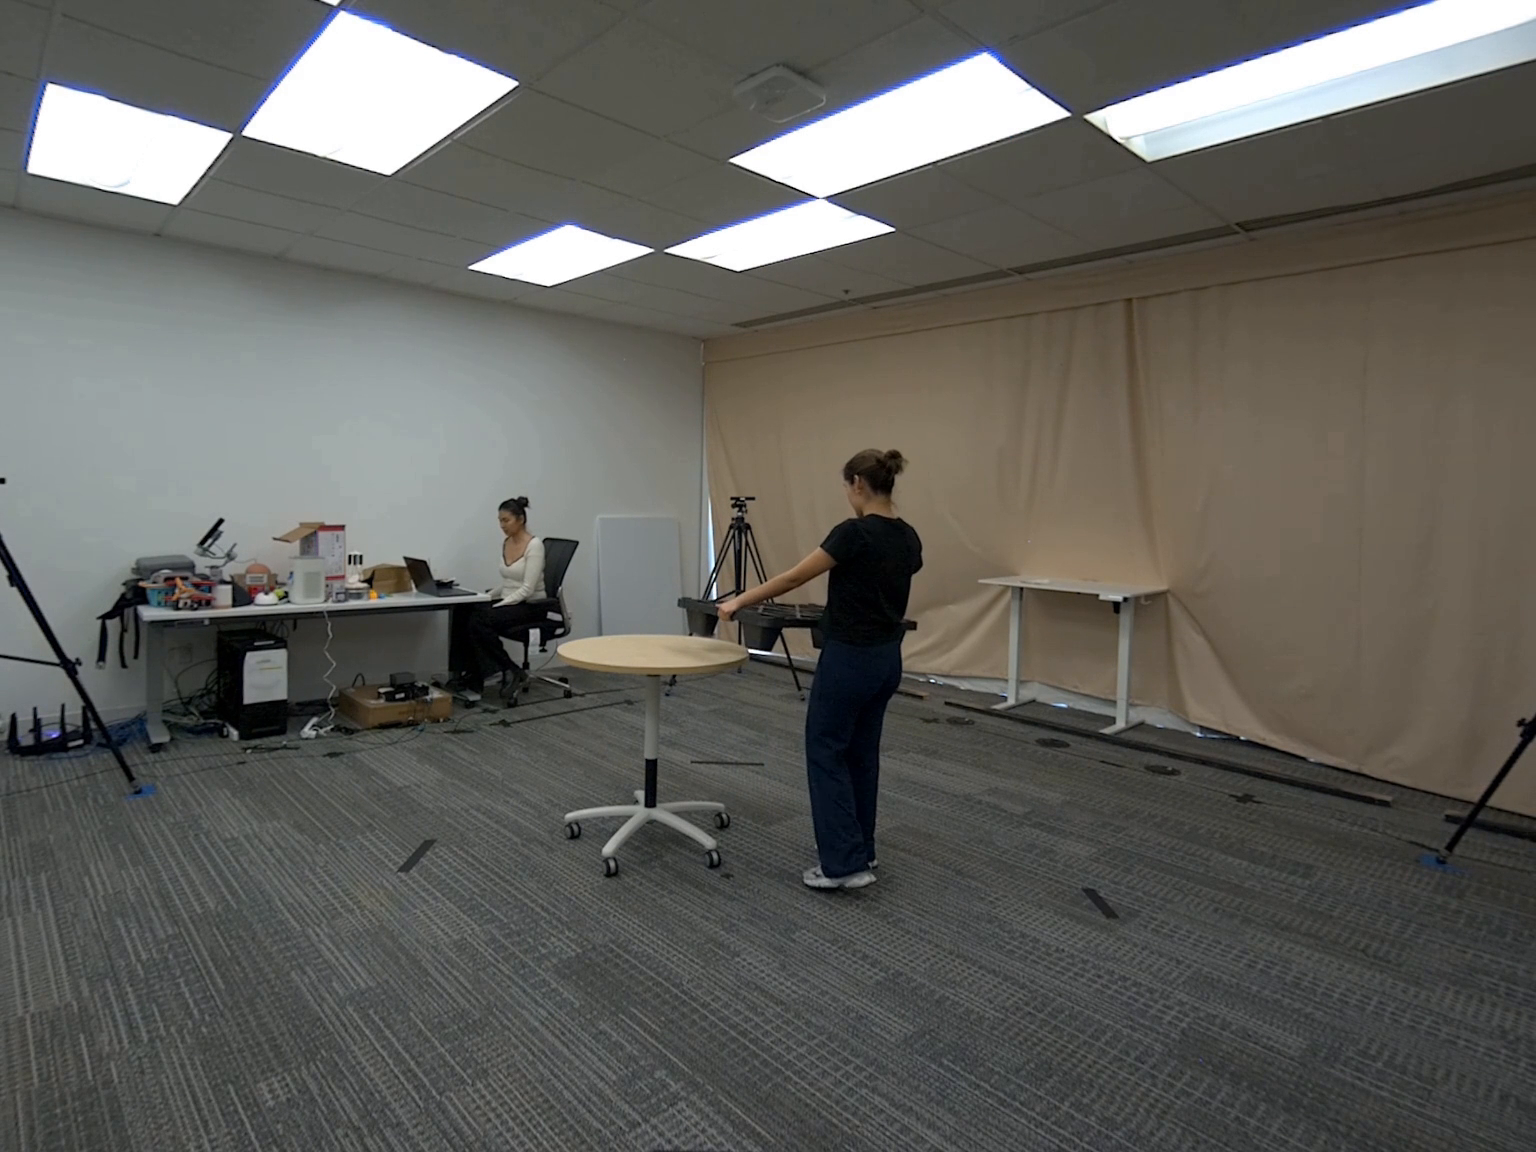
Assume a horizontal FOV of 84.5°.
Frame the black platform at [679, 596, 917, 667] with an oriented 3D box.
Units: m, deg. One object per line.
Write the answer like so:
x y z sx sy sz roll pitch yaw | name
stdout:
0.113 0.205 3.416 0.786 0.143 0.621 4 3 -38 | black platform
